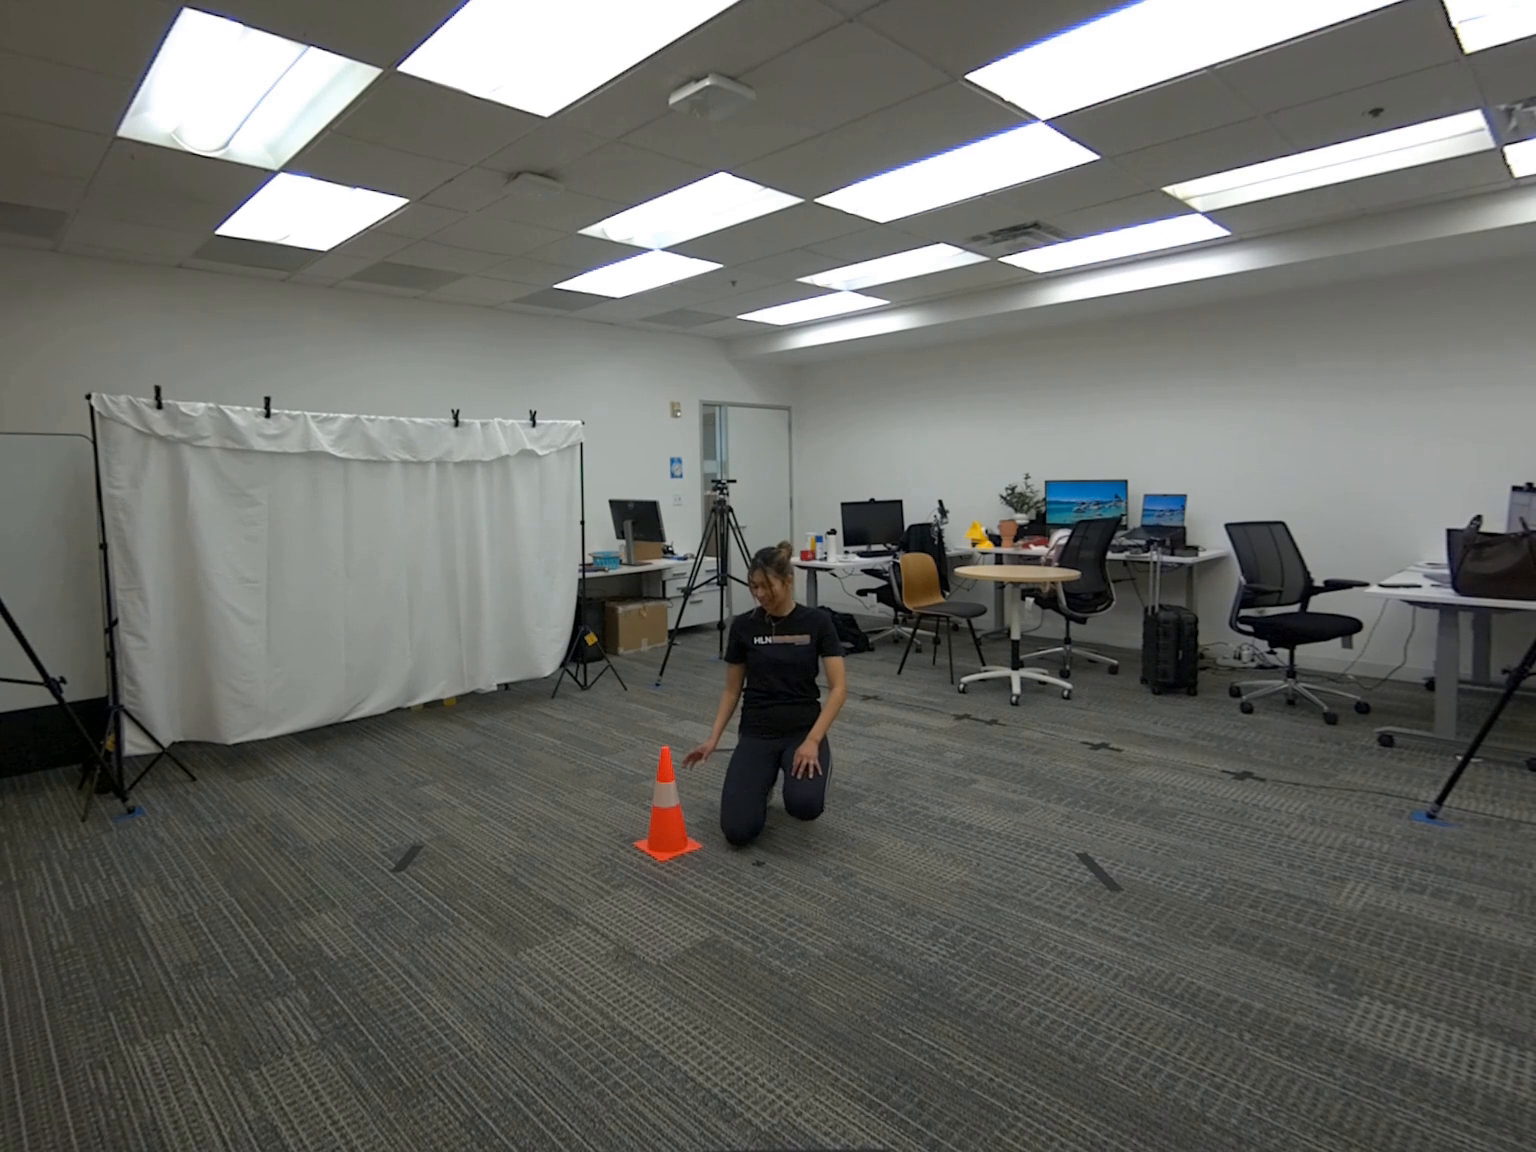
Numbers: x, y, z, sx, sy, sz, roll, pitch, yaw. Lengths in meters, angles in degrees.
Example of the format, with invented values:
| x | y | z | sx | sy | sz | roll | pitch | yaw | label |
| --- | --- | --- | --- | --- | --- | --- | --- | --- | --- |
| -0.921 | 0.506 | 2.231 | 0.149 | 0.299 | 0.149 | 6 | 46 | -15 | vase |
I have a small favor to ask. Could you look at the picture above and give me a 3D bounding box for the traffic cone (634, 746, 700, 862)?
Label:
| x | y | z | sx | sy | sz | roll | pitch | yaw | label |
| --- | --- | --- | --- | --- | --- | --- | --- | --- | --- |
| -0.385 | 0.851 | 3.262 | 0.211 | 0.382 | 0.198 | 3 | 6 | 43 | traffic cone |
